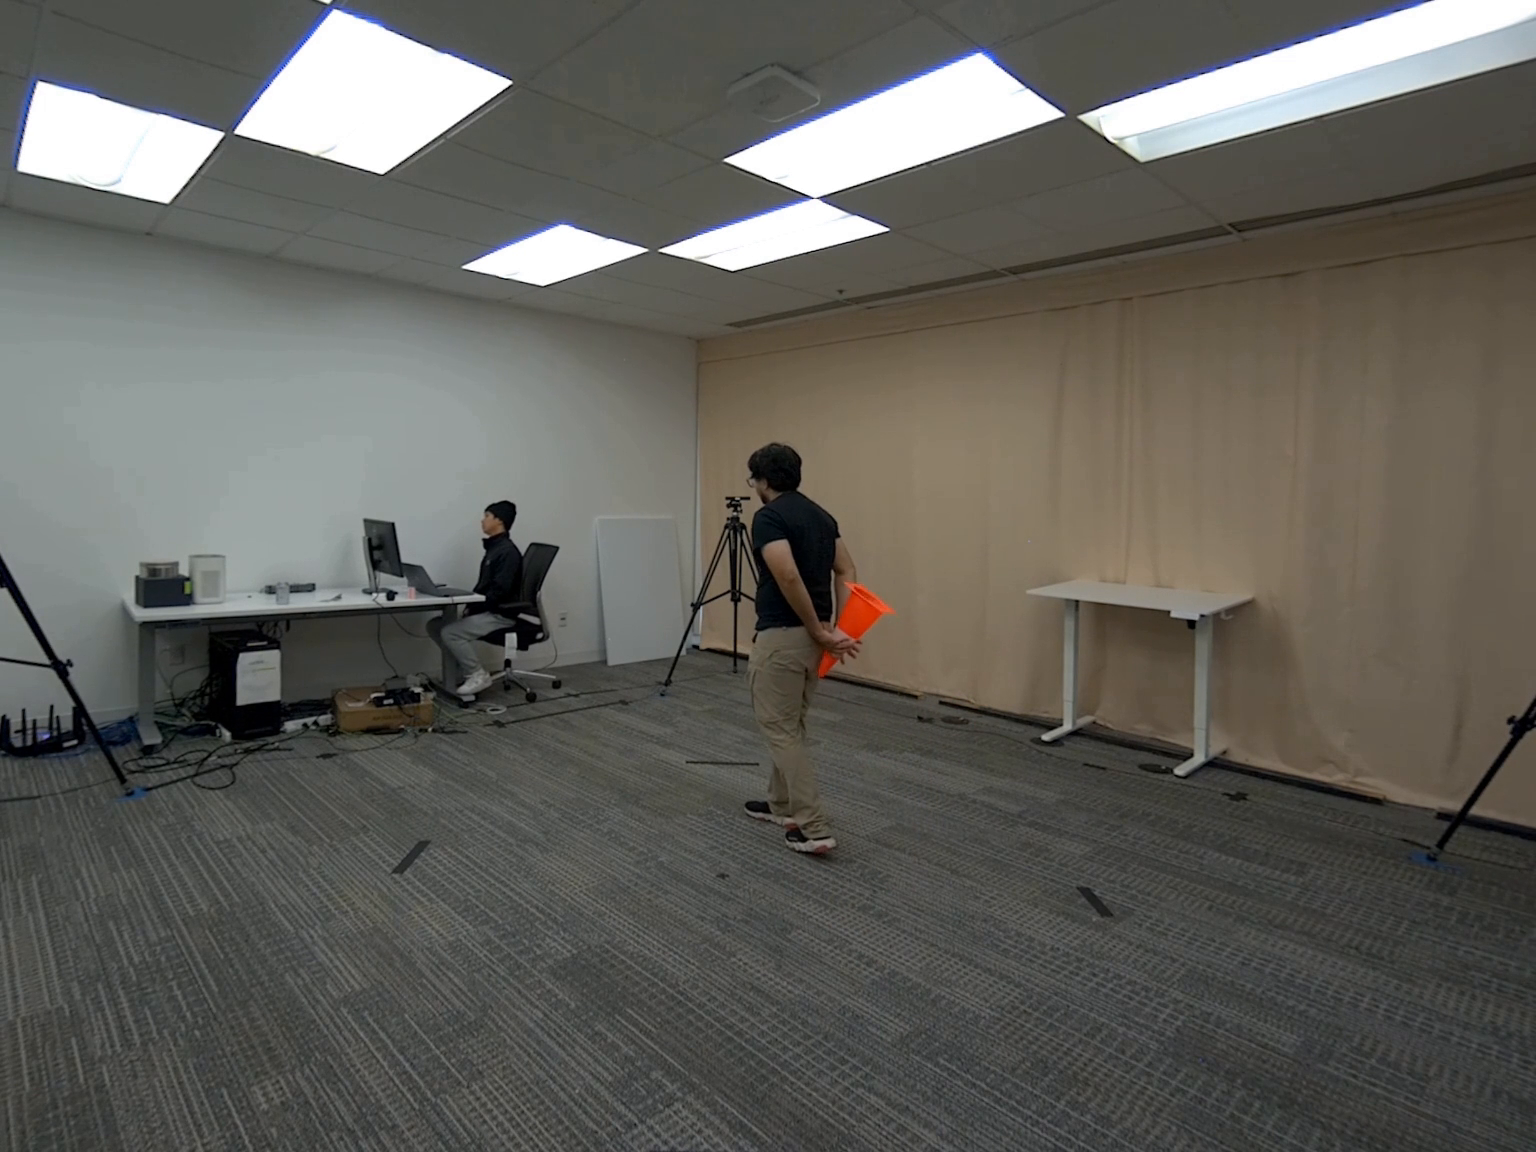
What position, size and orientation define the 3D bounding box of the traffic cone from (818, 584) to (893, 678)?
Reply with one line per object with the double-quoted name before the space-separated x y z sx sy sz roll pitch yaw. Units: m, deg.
"traffic cone" 0.291 0.249 3.378 0.211 0.382 0.198 39 14 29
